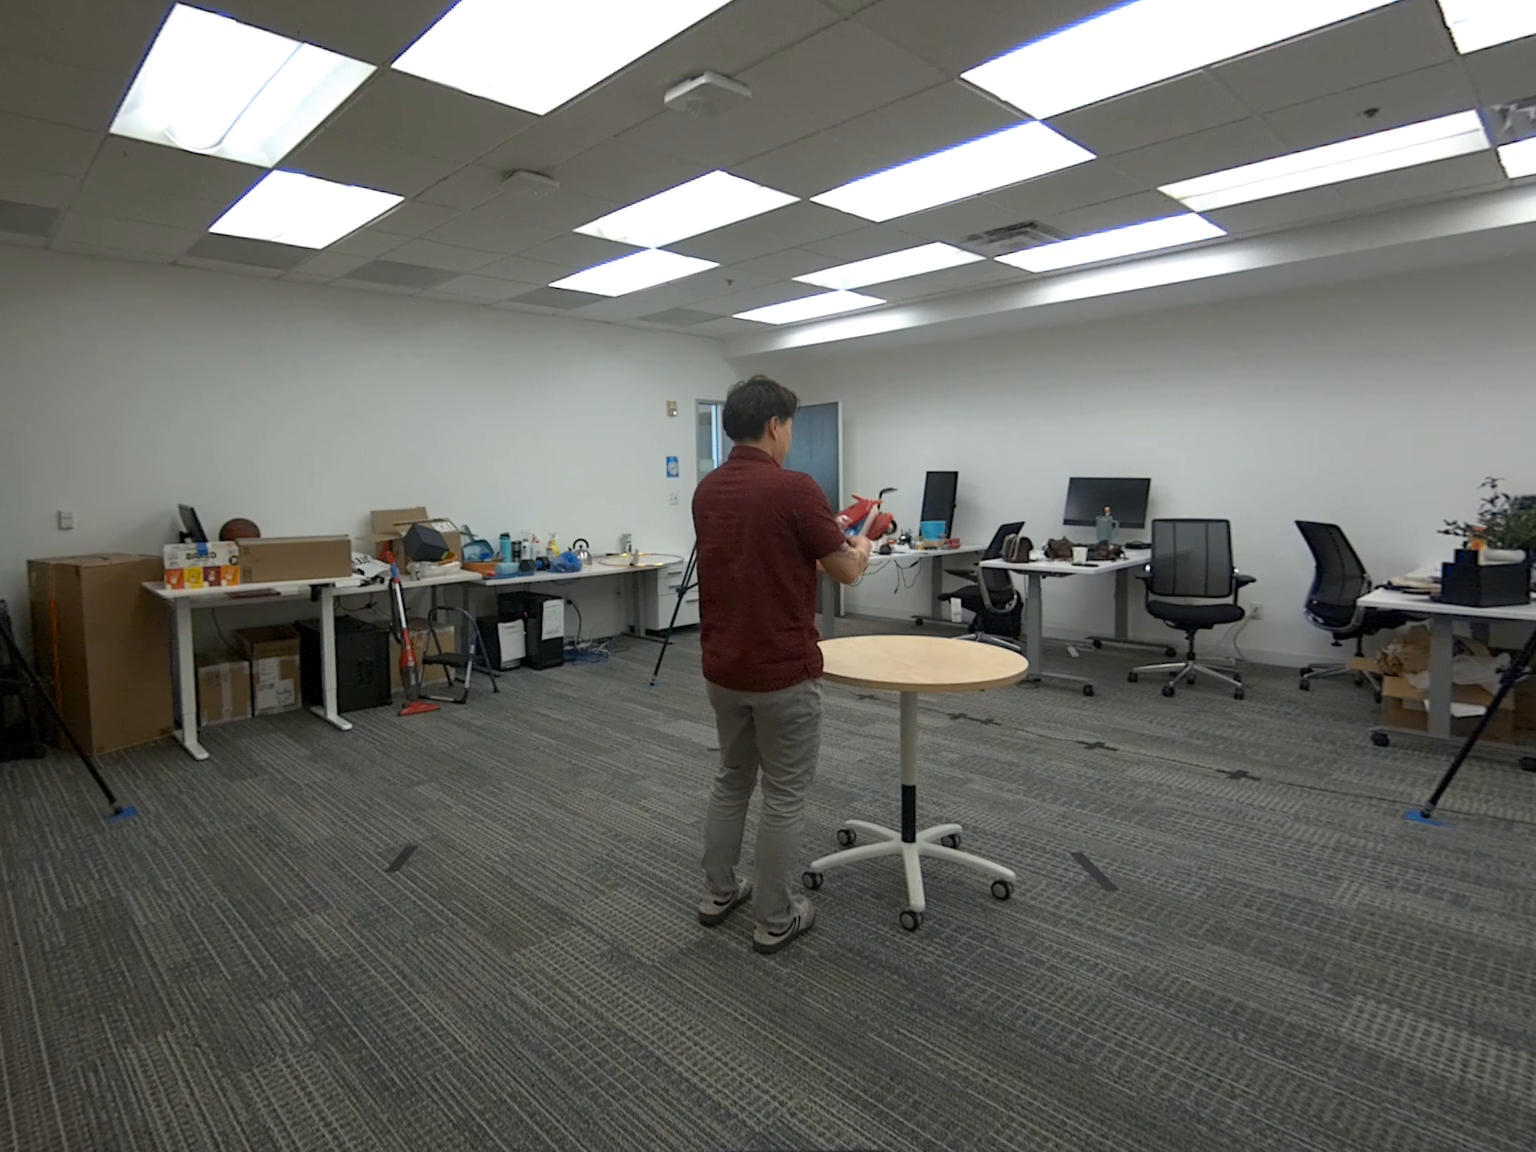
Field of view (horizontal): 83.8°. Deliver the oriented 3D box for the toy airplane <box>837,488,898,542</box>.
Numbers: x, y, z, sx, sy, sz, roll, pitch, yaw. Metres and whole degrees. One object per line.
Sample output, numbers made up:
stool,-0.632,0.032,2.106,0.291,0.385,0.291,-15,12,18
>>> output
toy airplane,0.302,-0.118,2.787,0.253,0.155,0.259,-36,9,38
